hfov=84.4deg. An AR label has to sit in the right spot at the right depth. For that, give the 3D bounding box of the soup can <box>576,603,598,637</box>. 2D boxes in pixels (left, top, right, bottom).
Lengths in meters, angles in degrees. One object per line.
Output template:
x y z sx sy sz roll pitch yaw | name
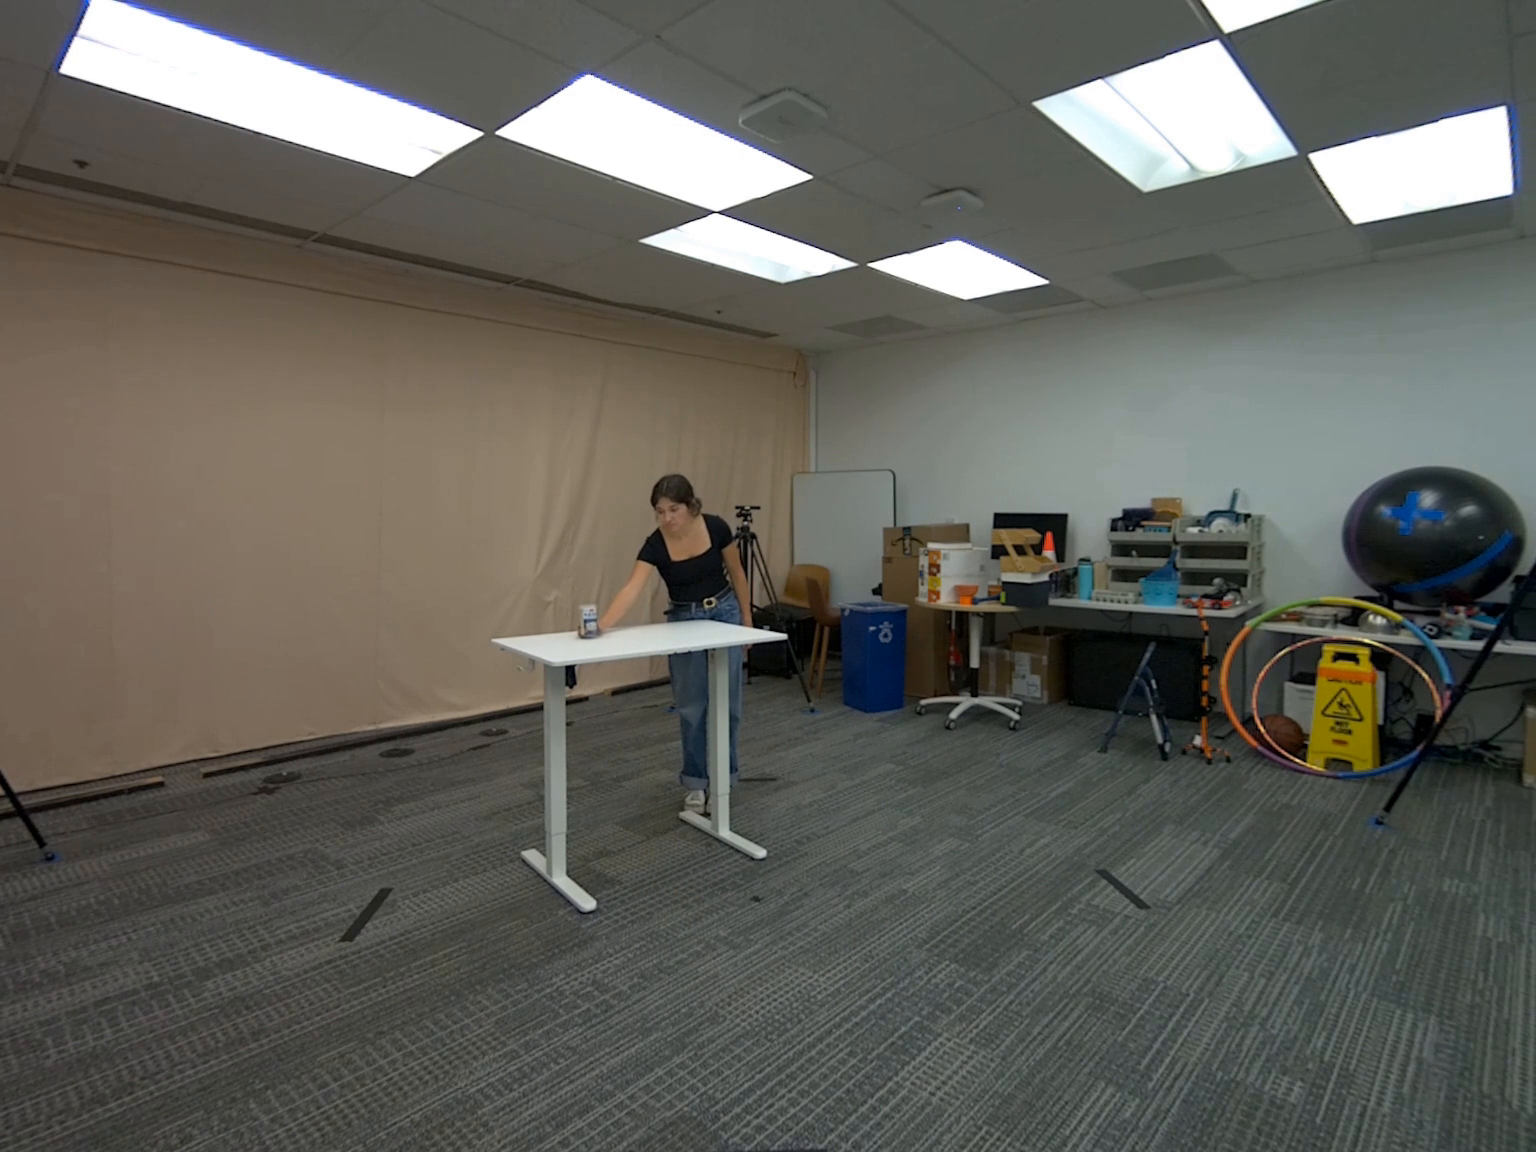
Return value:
-0.700 0.167 3.270 0.067 0.121 0.067 -2 -1 -2 | soup can
